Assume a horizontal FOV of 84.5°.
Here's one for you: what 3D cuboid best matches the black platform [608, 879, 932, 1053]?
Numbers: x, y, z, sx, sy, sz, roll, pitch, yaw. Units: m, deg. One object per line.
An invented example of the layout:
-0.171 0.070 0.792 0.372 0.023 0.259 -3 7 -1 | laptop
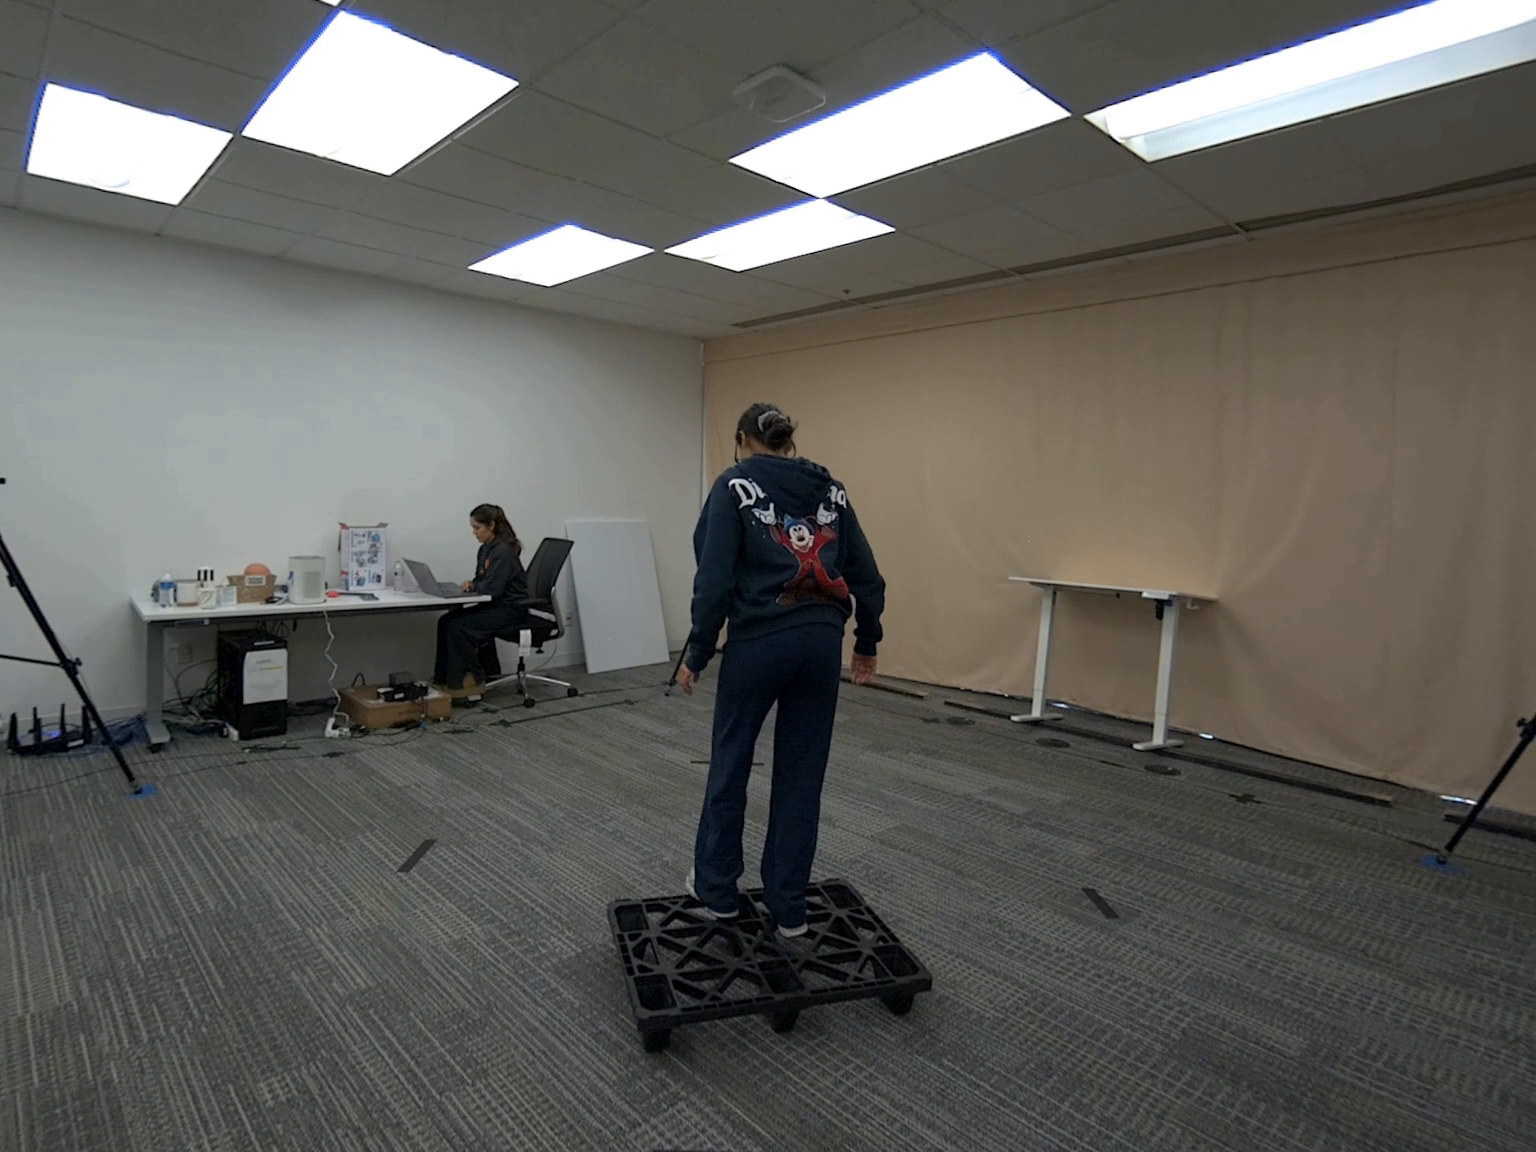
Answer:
-0.033 1.103 2.425 0.795 0.143 0.615 0 5 -17 | black platform
